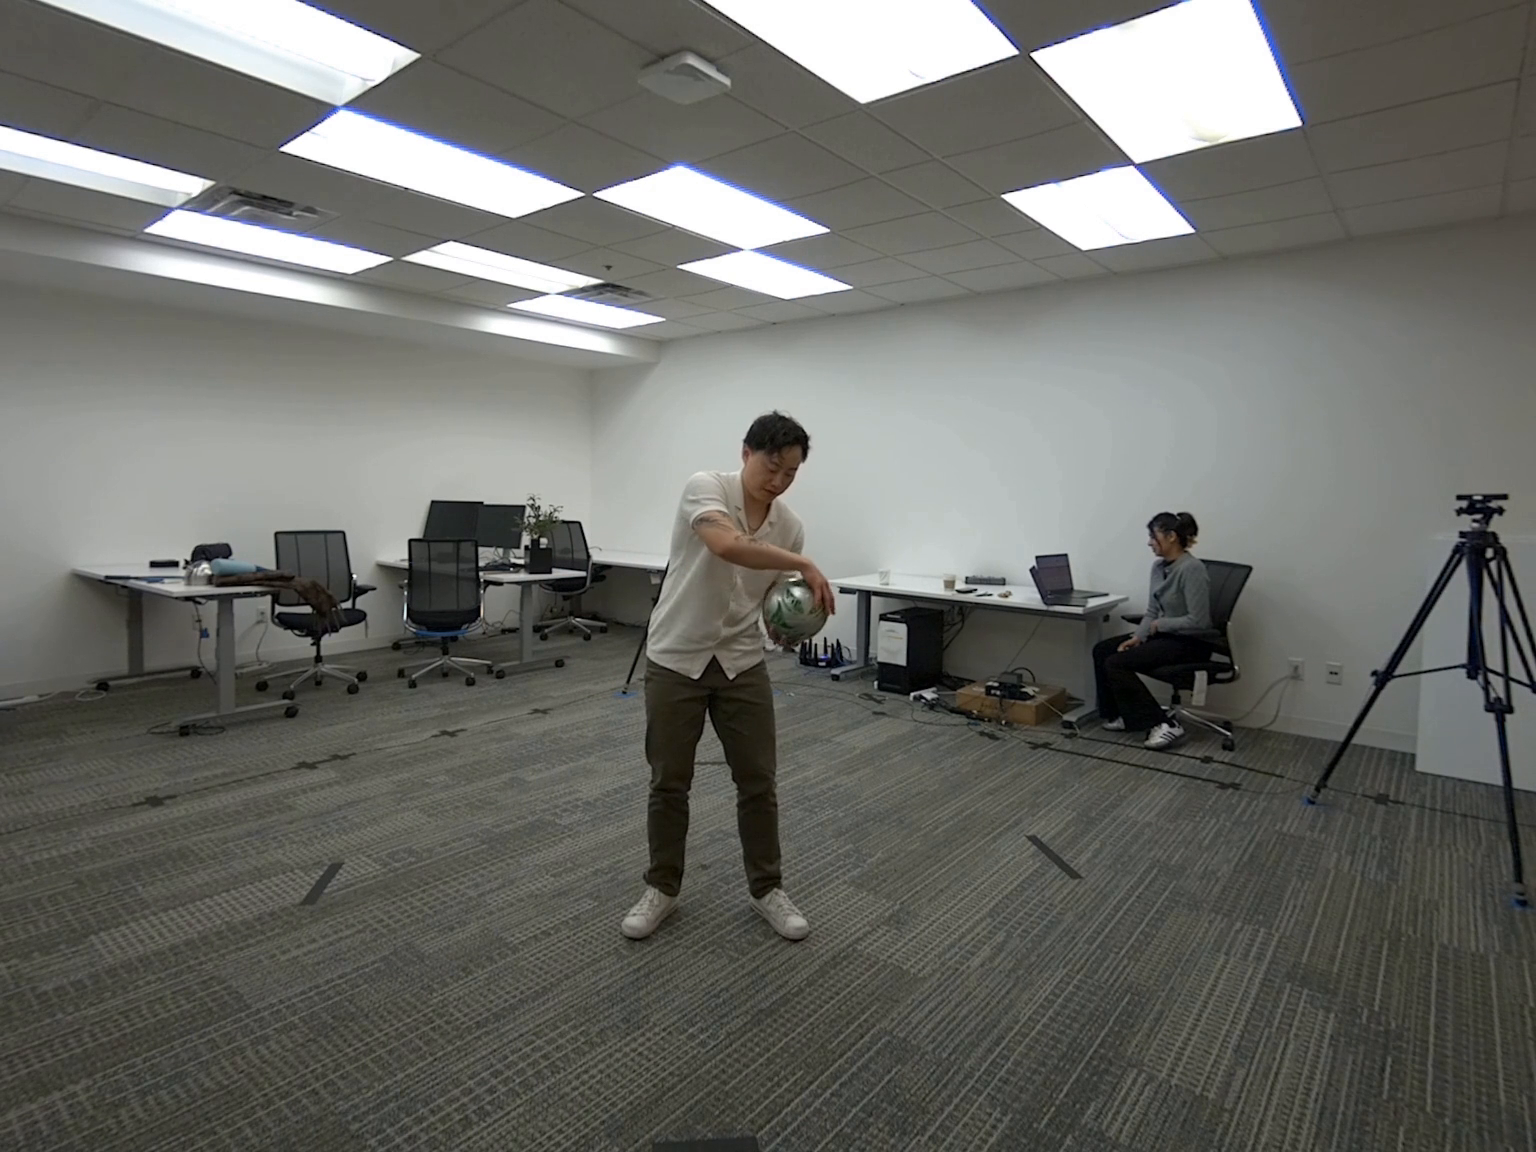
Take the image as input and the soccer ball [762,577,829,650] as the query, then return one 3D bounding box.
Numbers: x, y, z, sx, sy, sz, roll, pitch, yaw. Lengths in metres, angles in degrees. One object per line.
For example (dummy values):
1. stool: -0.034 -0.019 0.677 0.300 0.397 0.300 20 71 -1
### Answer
1. soccer ball: 0.081 0.094 2.500 0.187 0.187 0.188 1 4 -2
